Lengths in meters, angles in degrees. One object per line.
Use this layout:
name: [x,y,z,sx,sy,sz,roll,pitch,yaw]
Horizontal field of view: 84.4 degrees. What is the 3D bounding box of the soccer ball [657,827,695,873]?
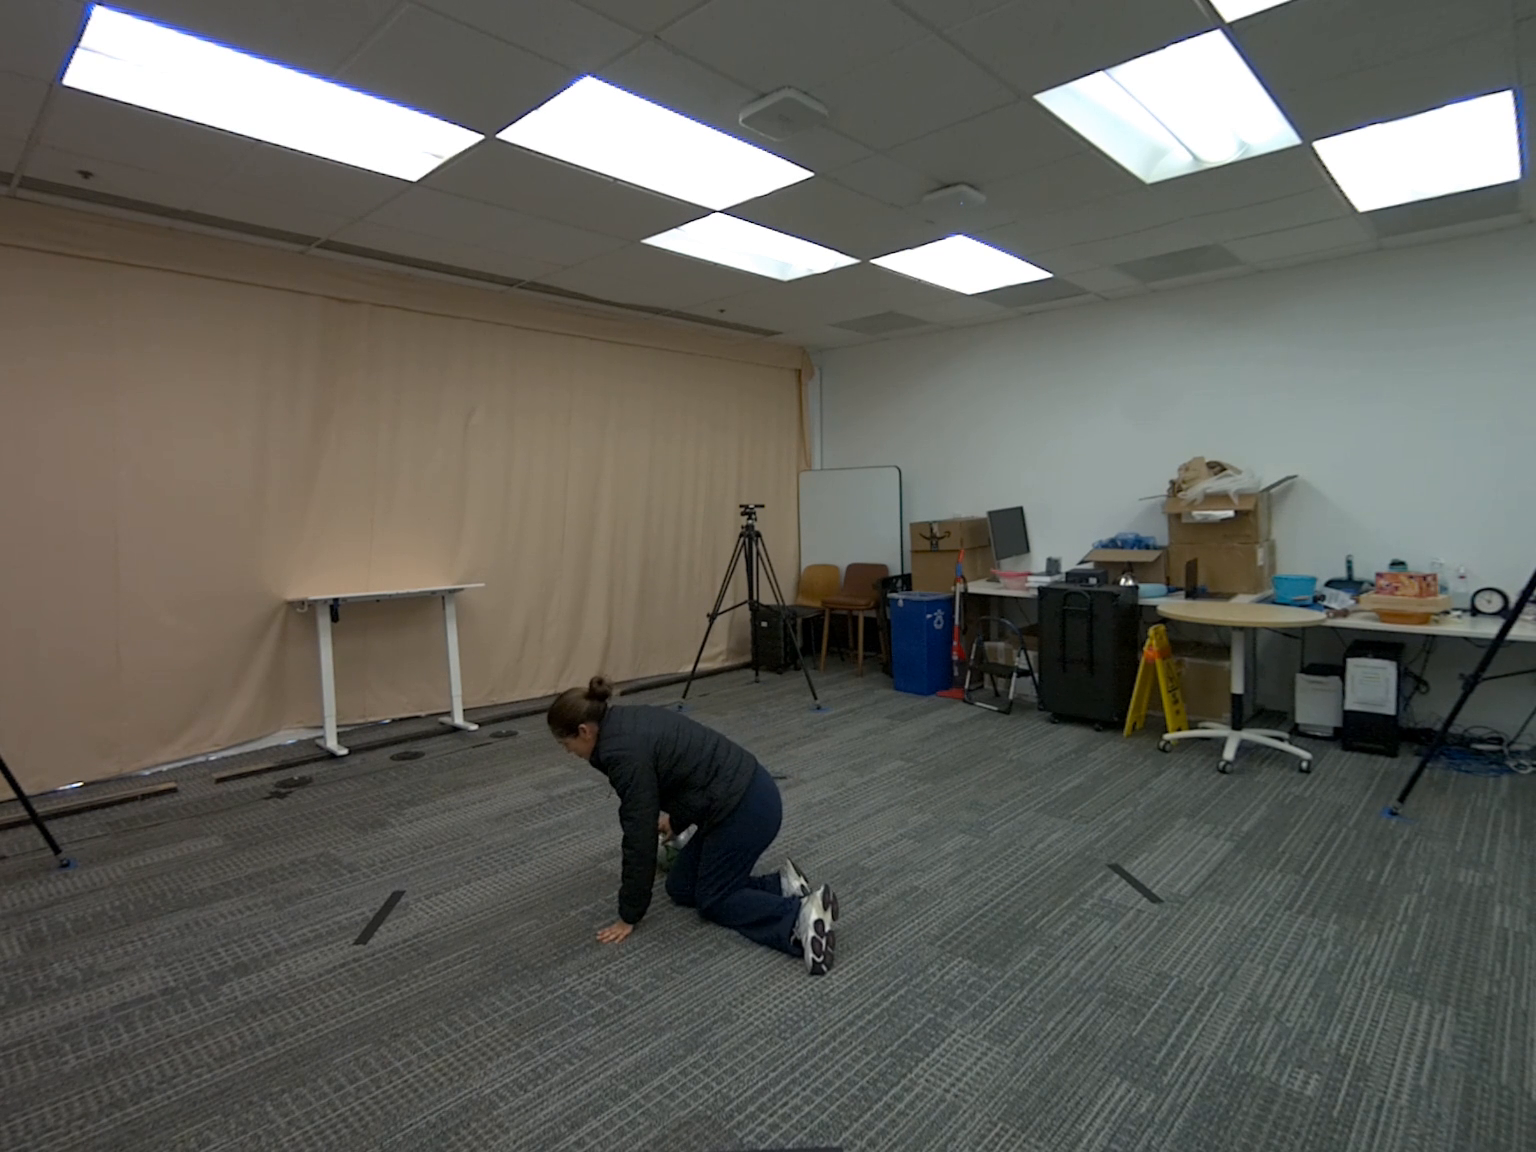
soccer ball: [-0.378,1.031,3.244,0.187,0.187,0.188,-1,4,-2]
